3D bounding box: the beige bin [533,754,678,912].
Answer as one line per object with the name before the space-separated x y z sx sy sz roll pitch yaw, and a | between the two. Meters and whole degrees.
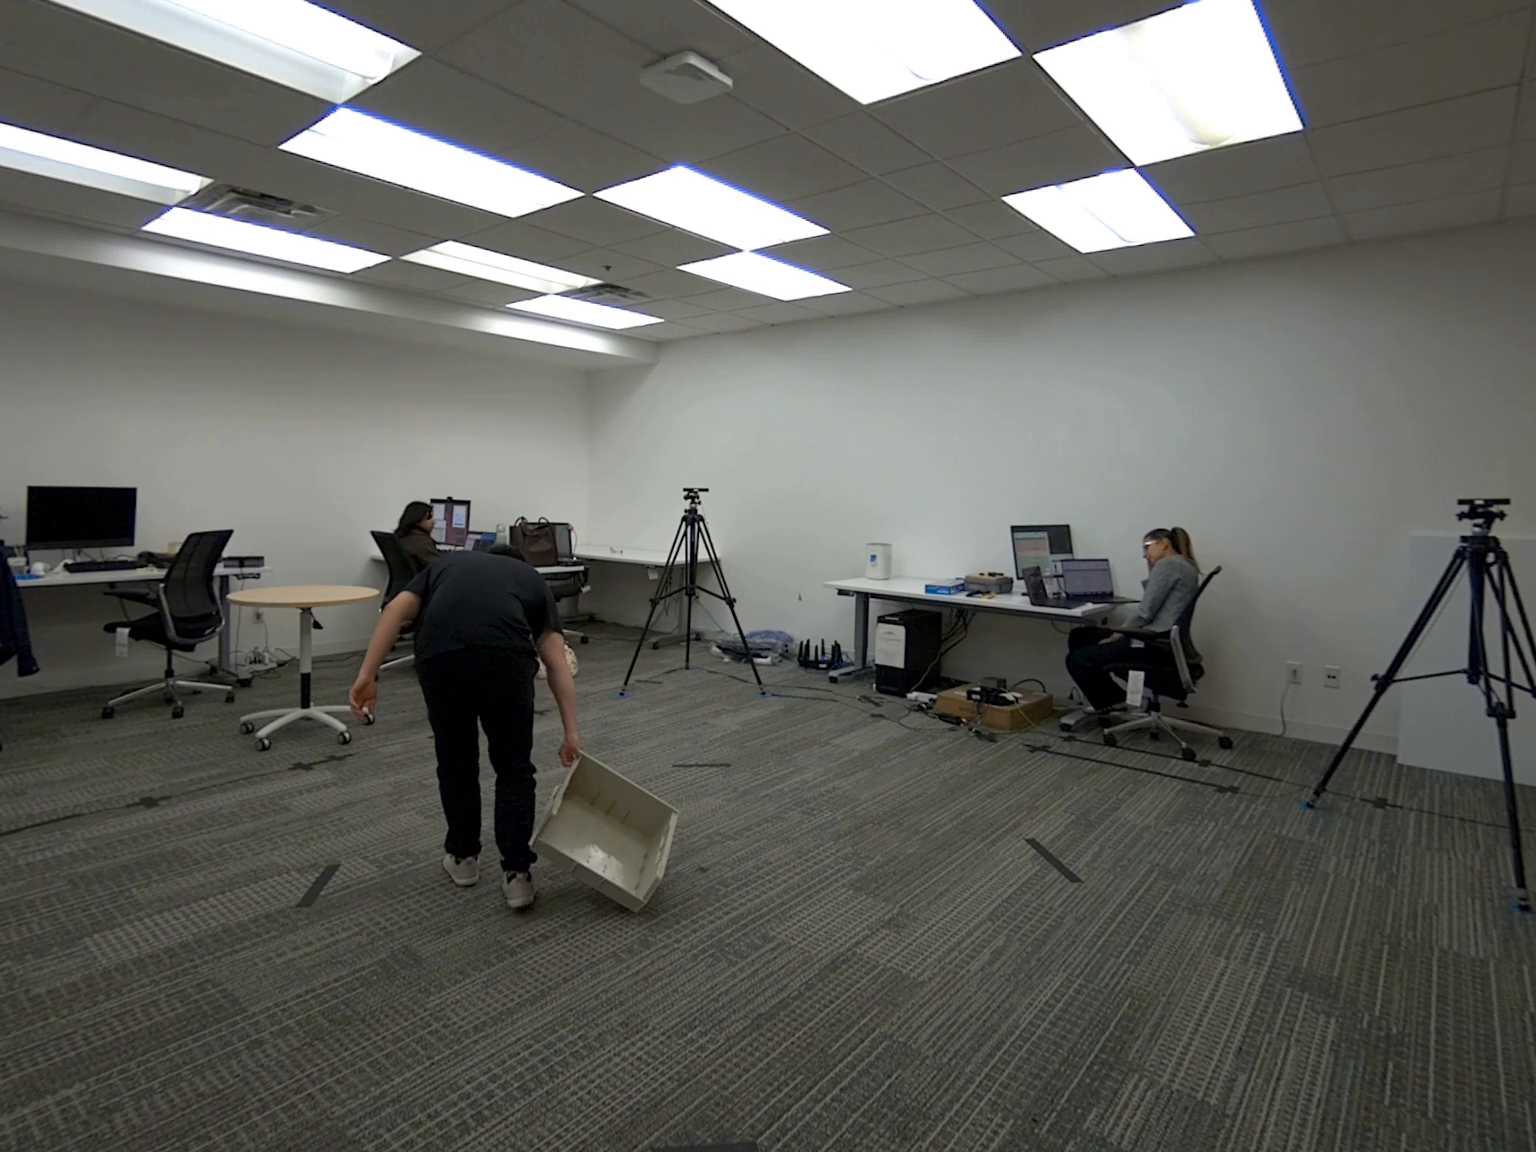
beige bin | -0.562 0.871 2.878 0.419 0.188 0.382 31 19 -7
